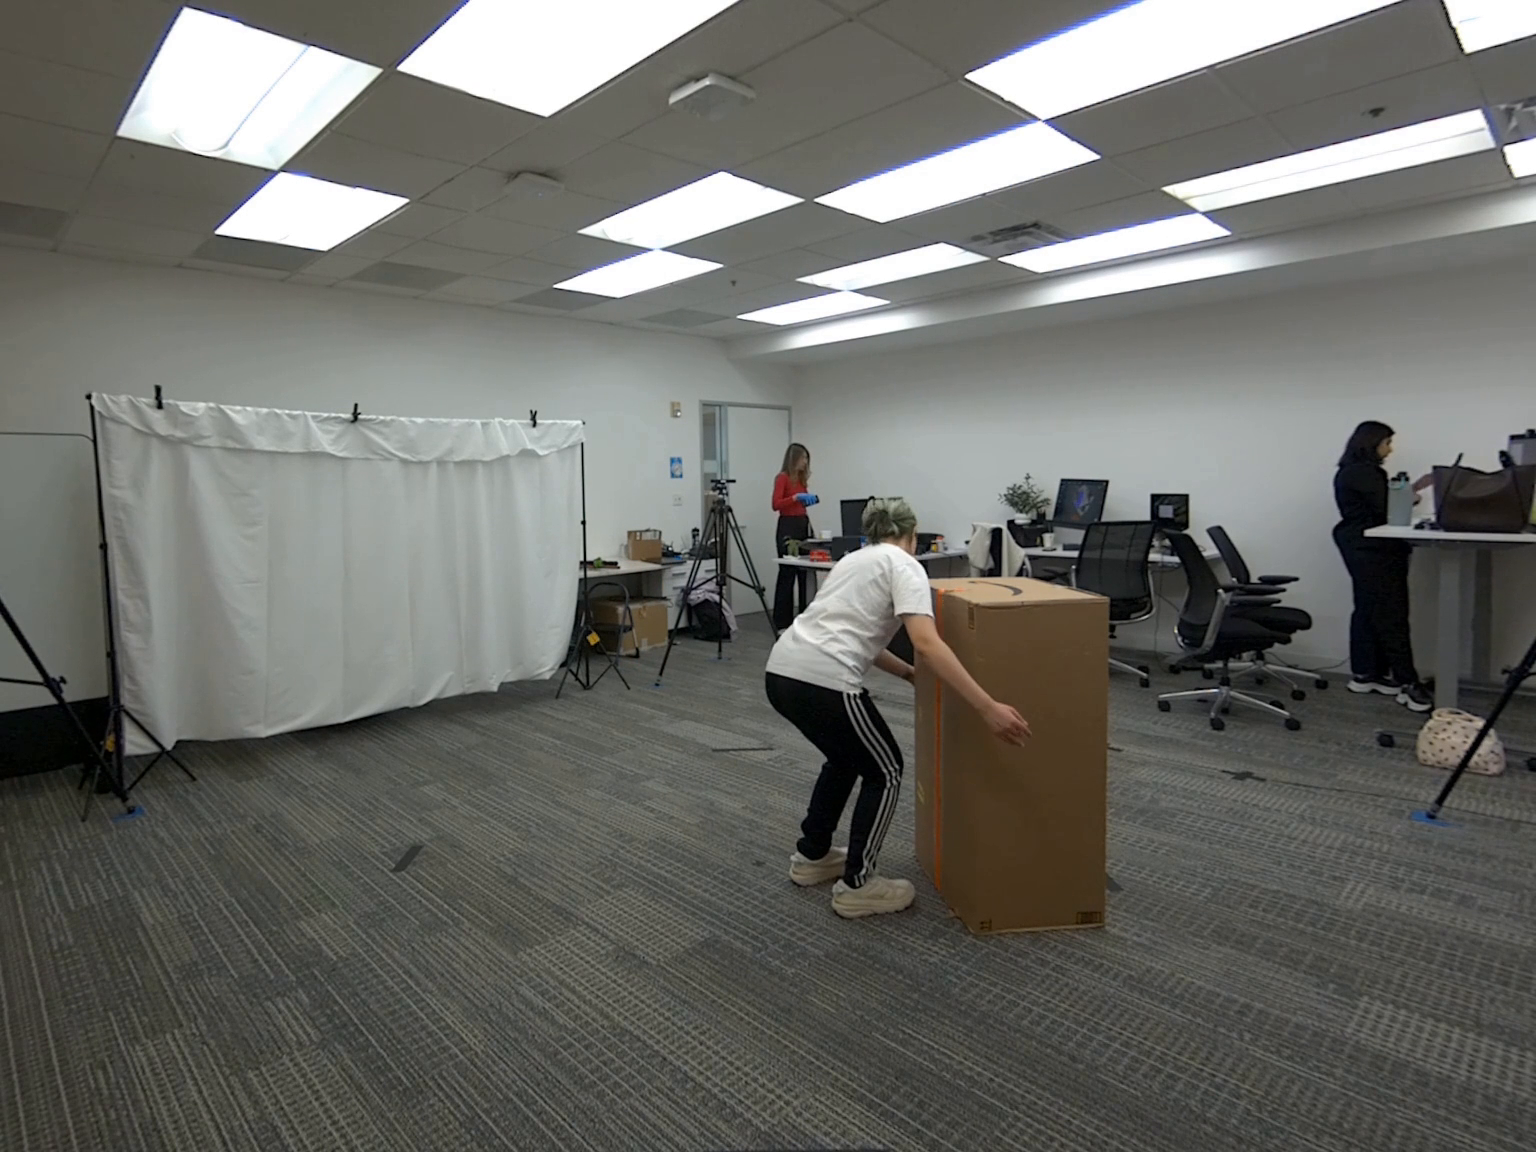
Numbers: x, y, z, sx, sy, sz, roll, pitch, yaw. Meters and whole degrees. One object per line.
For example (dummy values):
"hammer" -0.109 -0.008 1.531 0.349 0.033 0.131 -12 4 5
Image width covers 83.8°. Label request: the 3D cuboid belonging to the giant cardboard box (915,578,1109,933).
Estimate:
"giant cardboard box" 0.781 0.552 2.857 0.444 1.023 0.590 -1 4 -8
